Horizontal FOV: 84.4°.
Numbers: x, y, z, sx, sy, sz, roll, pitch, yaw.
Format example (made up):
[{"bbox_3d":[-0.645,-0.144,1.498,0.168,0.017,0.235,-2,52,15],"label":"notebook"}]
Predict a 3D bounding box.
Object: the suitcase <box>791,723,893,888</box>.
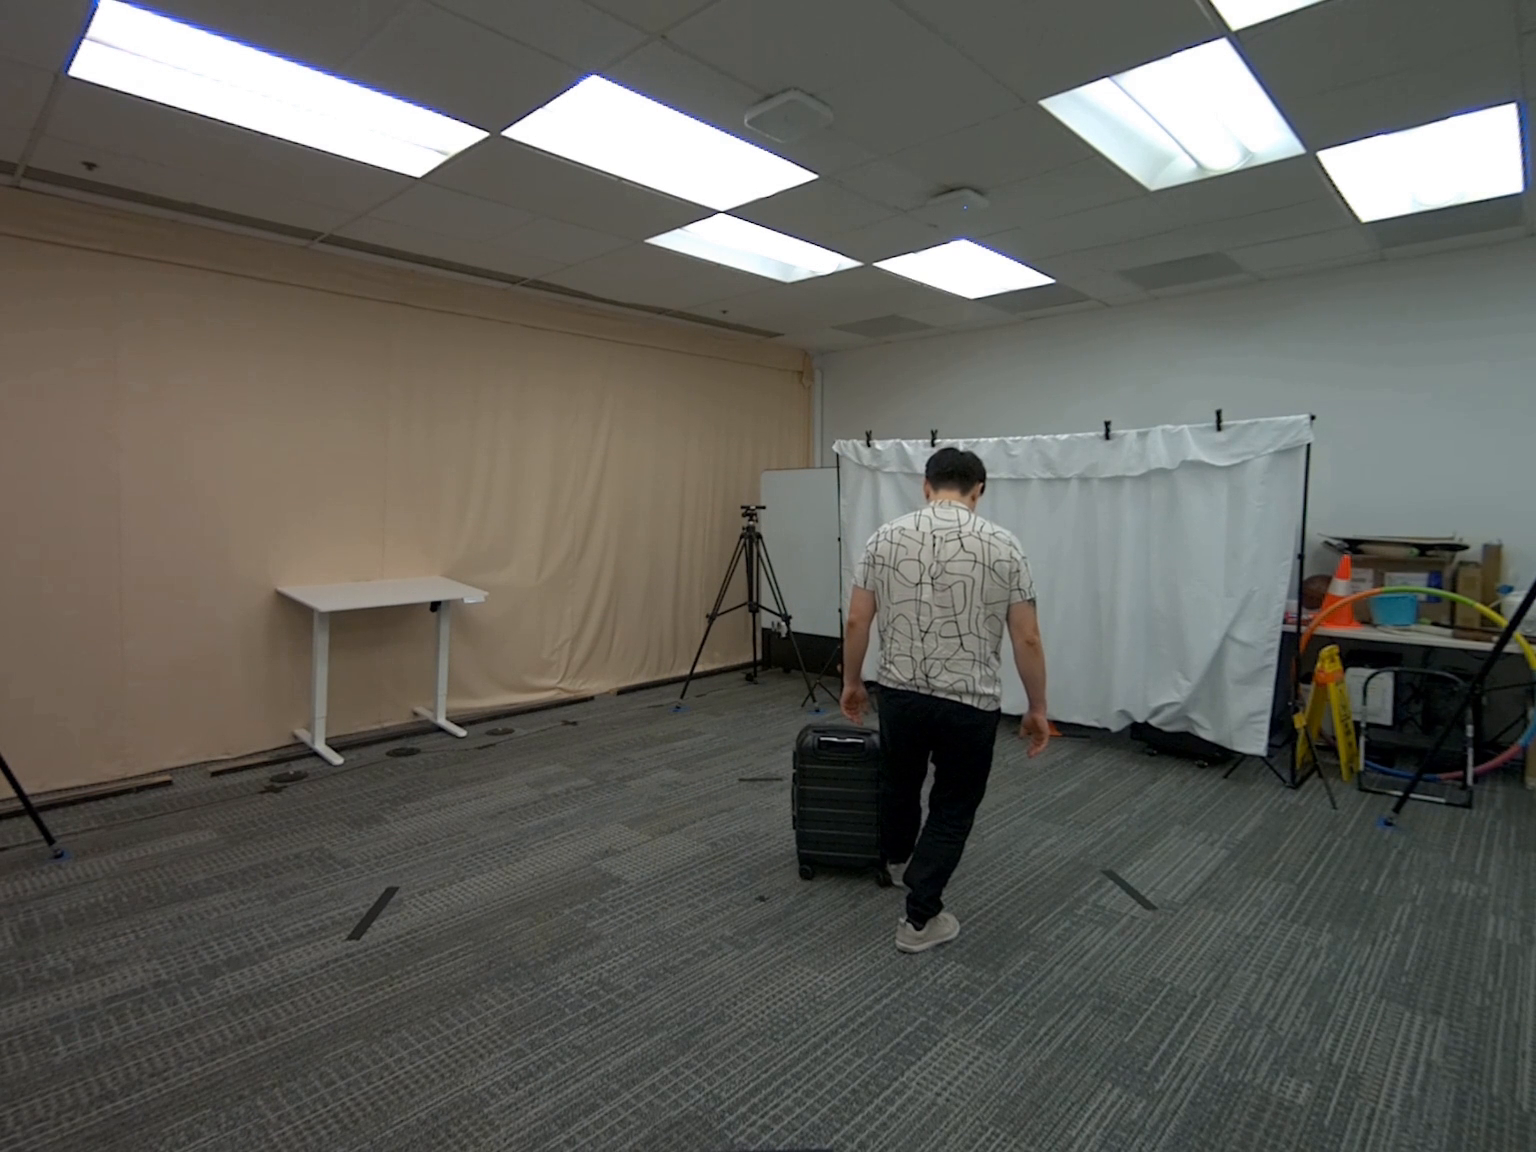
[{"bbox_3d":[0.287,0.842,3.219,0.379,0.548,0.246,0,2,10],"label":"suitcase"}]
